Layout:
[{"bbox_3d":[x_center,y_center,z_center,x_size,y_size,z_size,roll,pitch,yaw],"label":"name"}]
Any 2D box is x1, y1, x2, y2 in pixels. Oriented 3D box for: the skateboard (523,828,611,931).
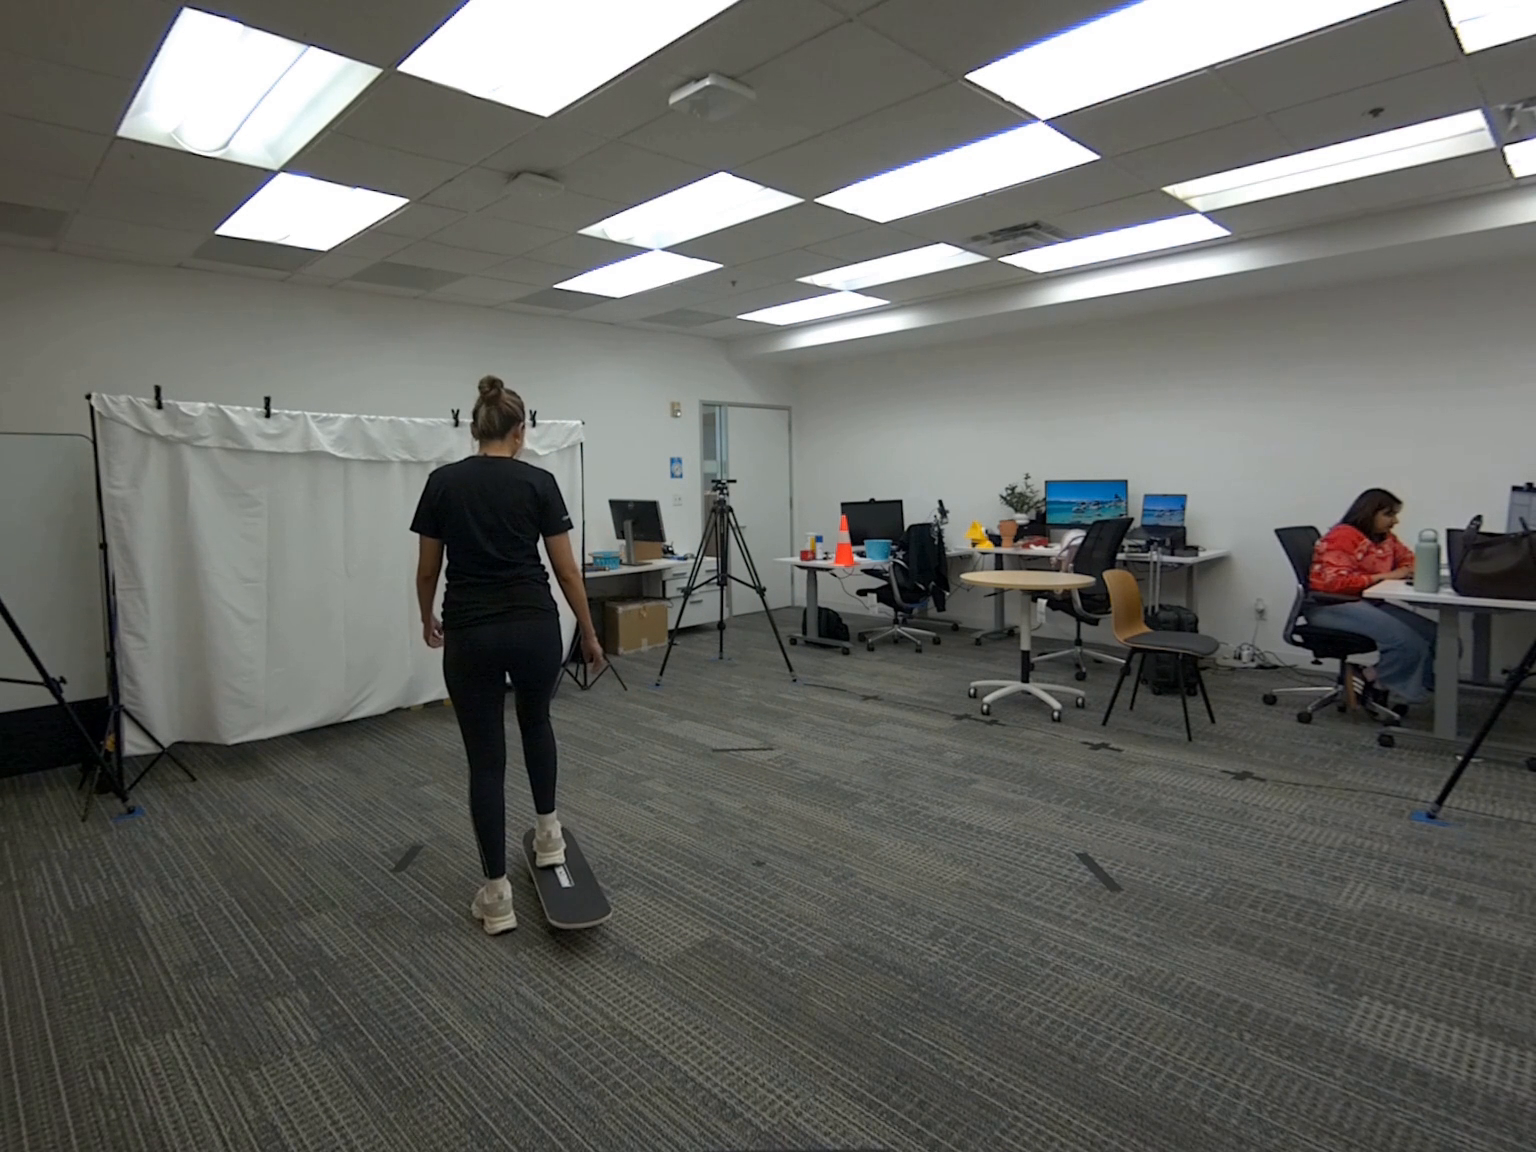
[{"bbox_3d":[-0.685,1.032,2.869,0.190,0.110,0.804,-4,7,-23],"label":"skateboard"}]
